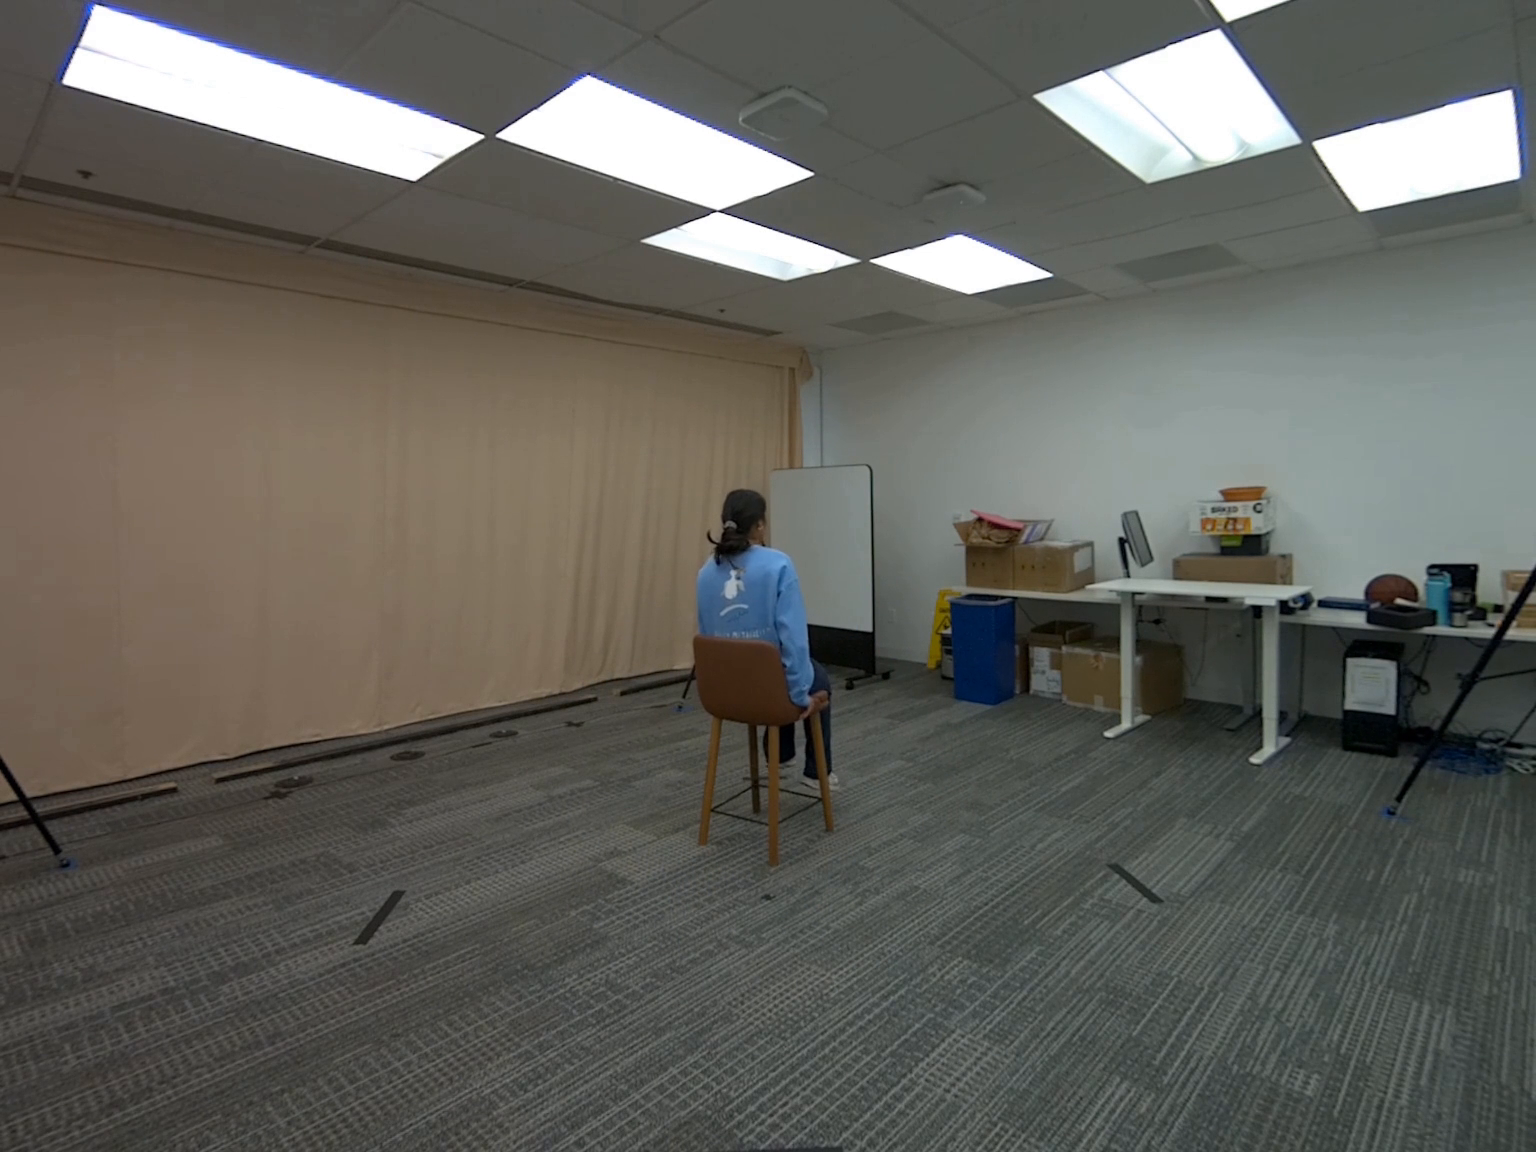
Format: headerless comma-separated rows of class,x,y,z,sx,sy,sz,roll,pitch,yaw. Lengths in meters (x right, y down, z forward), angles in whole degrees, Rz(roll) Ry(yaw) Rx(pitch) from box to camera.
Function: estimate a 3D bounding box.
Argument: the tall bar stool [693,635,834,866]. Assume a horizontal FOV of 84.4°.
tall bar stool,-0.019,0.661,3.502,0.470,0.887,0.454,0,5,35
